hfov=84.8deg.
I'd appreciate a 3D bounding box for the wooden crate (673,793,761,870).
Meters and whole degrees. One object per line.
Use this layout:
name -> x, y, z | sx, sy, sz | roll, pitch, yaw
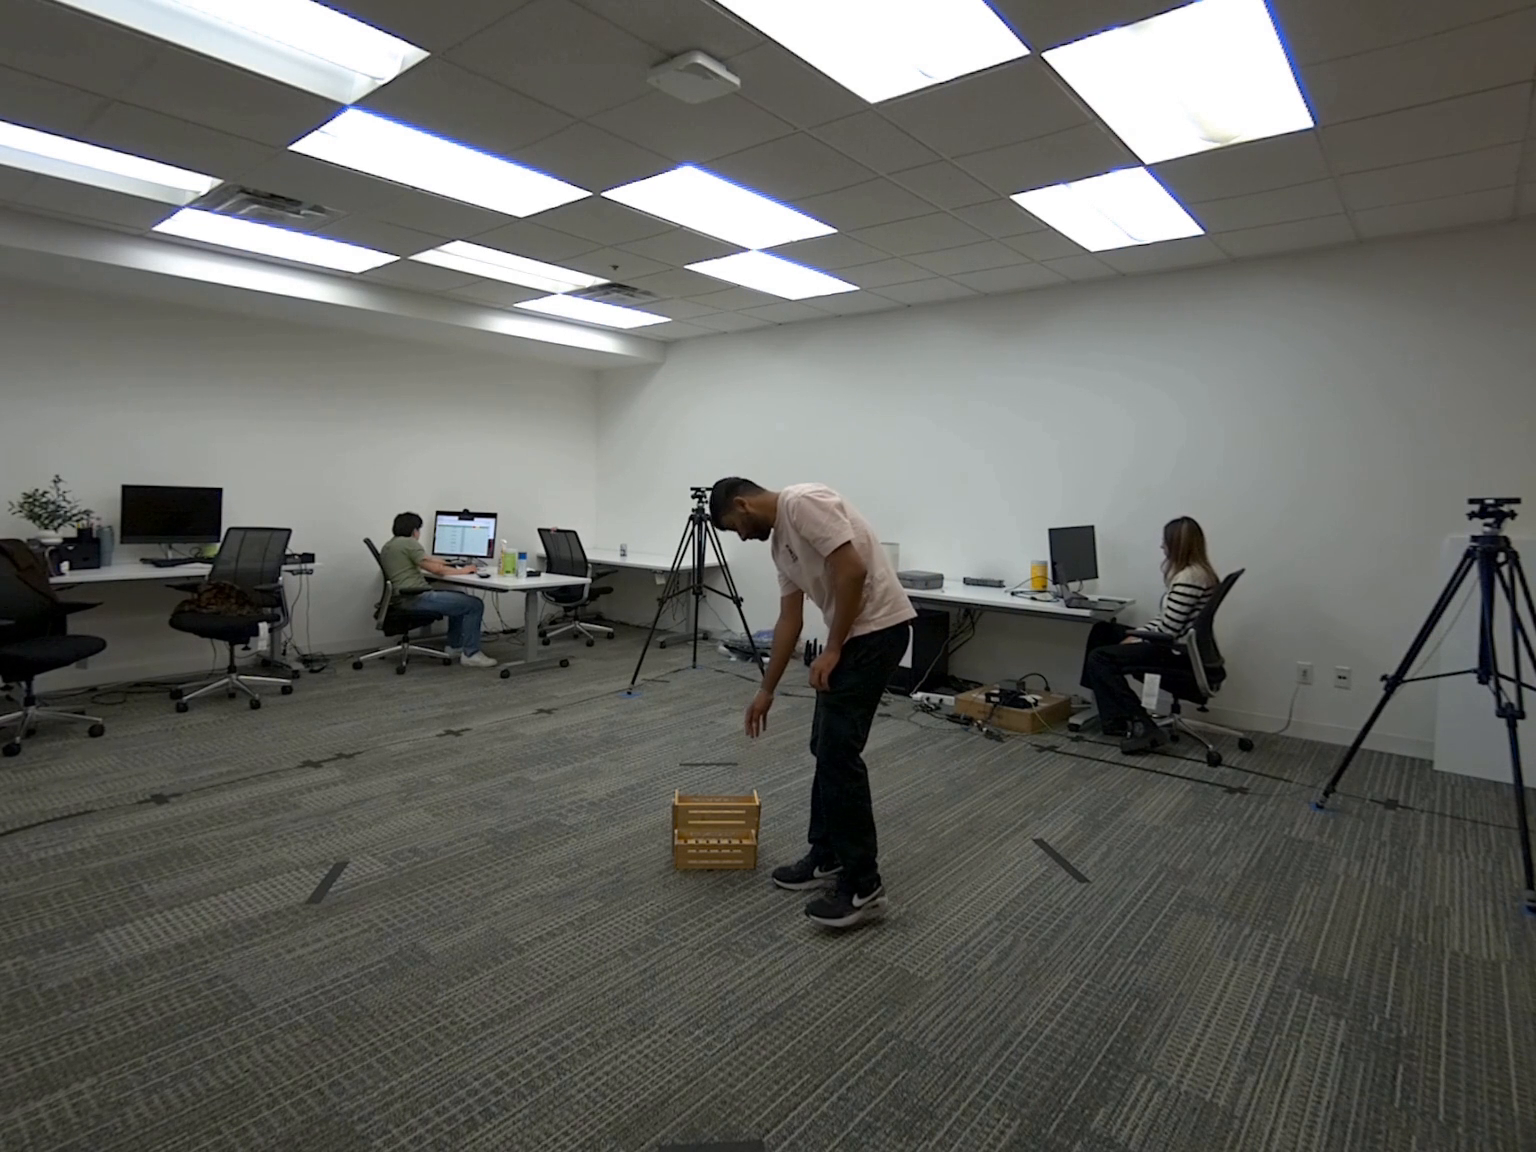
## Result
wooden crate -> -0.212, 0.926, 3.200 | 0.323, 0.272, 0.304 | 1, 4, -5
